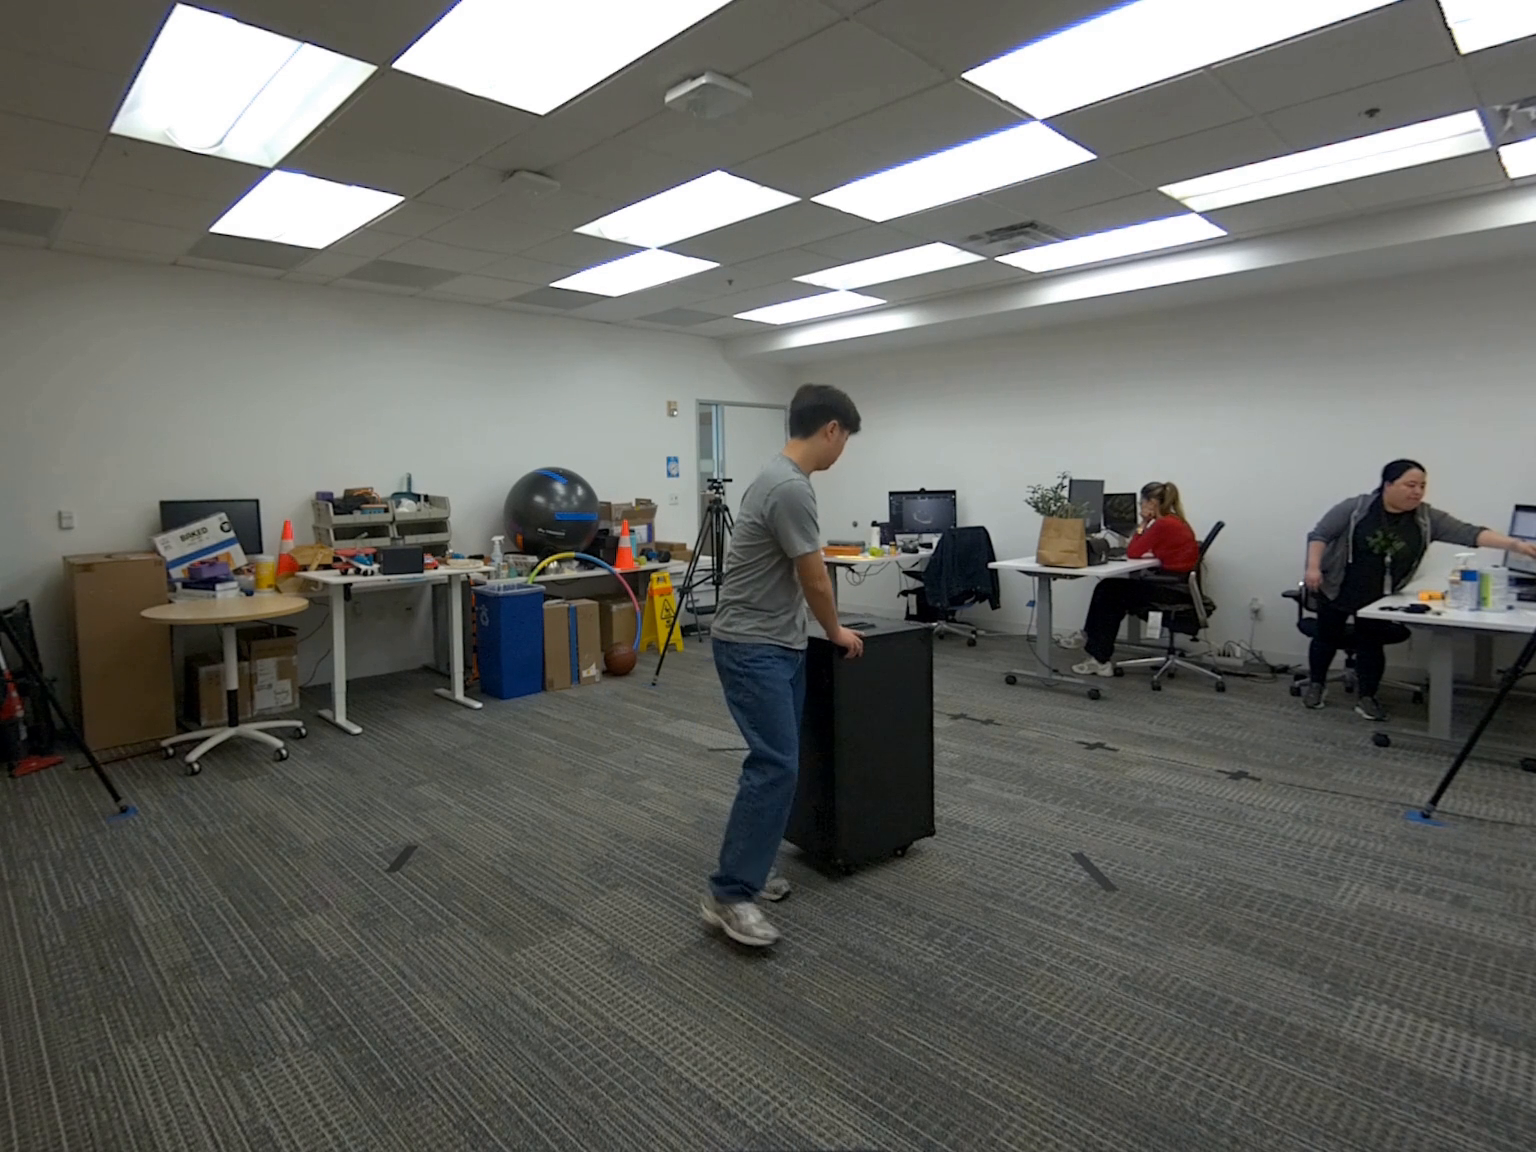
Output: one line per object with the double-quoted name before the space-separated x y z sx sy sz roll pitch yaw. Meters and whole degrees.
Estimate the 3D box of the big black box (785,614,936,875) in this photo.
"big black box" 0.309 0.611 3.163 0.508 0.859 0.407 -4 4 -34
